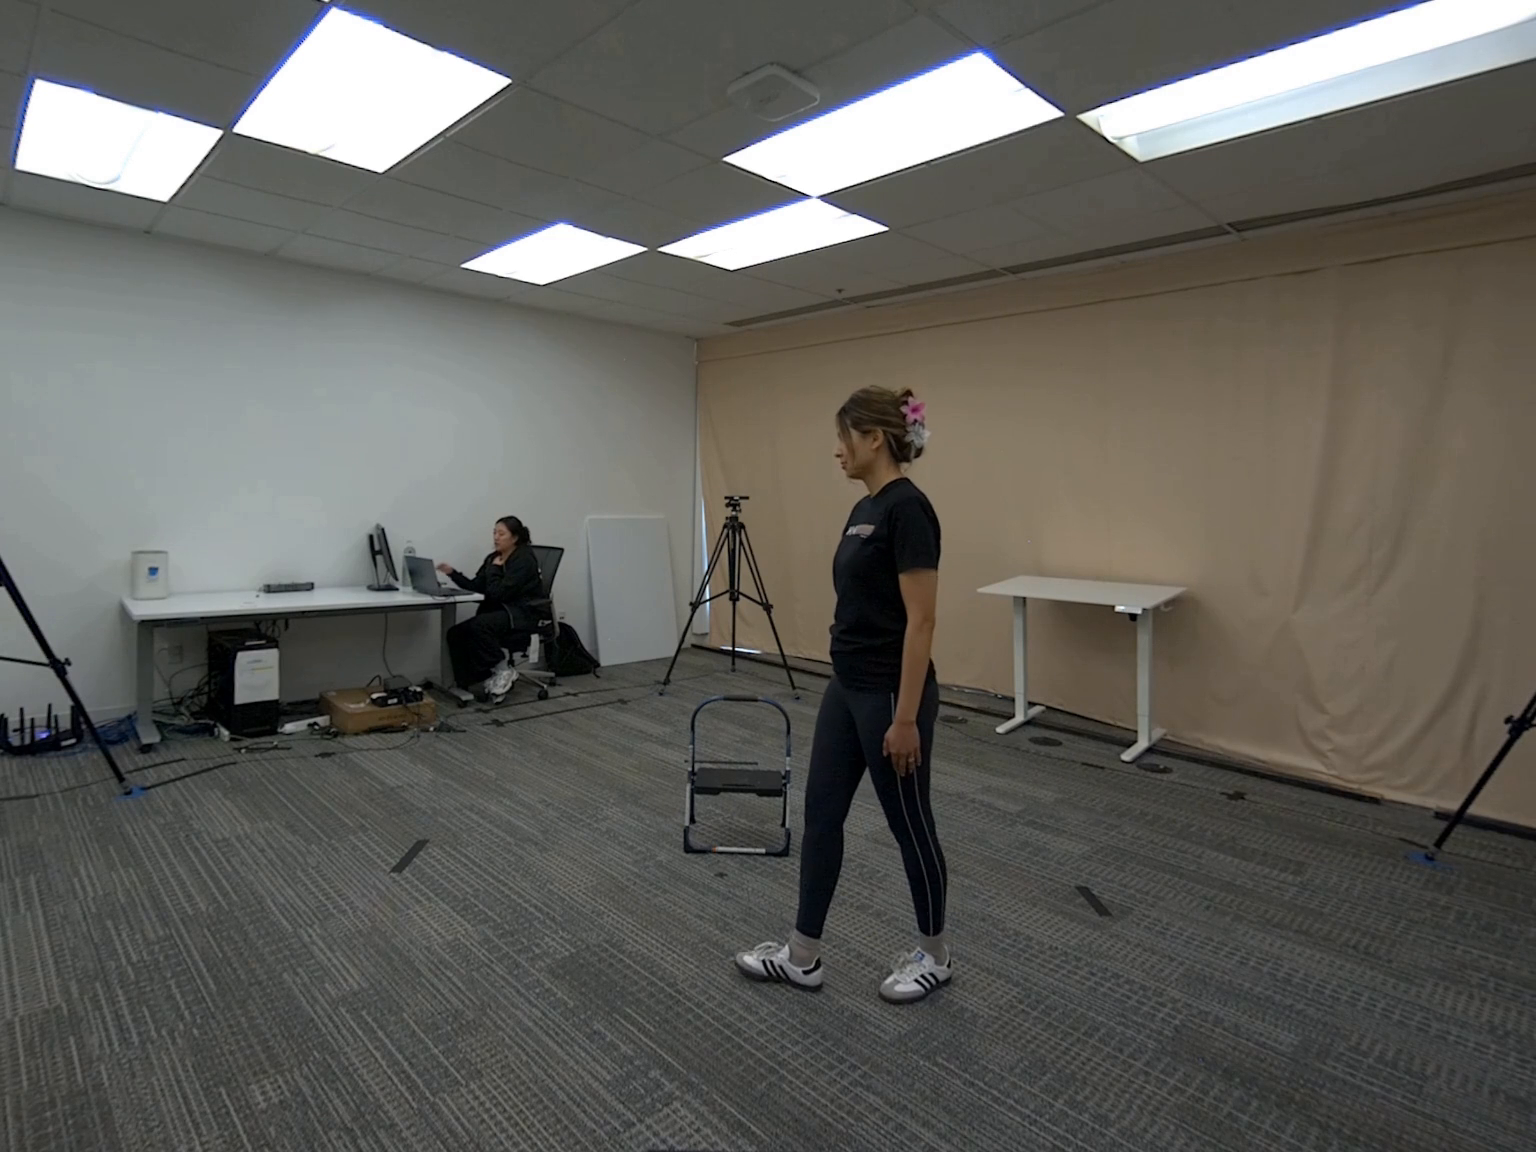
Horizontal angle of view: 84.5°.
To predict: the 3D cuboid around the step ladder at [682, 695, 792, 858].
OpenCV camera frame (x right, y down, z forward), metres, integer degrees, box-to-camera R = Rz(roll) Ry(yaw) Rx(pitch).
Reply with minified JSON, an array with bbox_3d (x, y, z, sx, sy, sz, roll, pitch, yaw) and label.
[{"bbox_3d":[-0.126,0.775,3.430,0.430,0.605,0.350,1,3,-1],"label":"step ladder"}]
